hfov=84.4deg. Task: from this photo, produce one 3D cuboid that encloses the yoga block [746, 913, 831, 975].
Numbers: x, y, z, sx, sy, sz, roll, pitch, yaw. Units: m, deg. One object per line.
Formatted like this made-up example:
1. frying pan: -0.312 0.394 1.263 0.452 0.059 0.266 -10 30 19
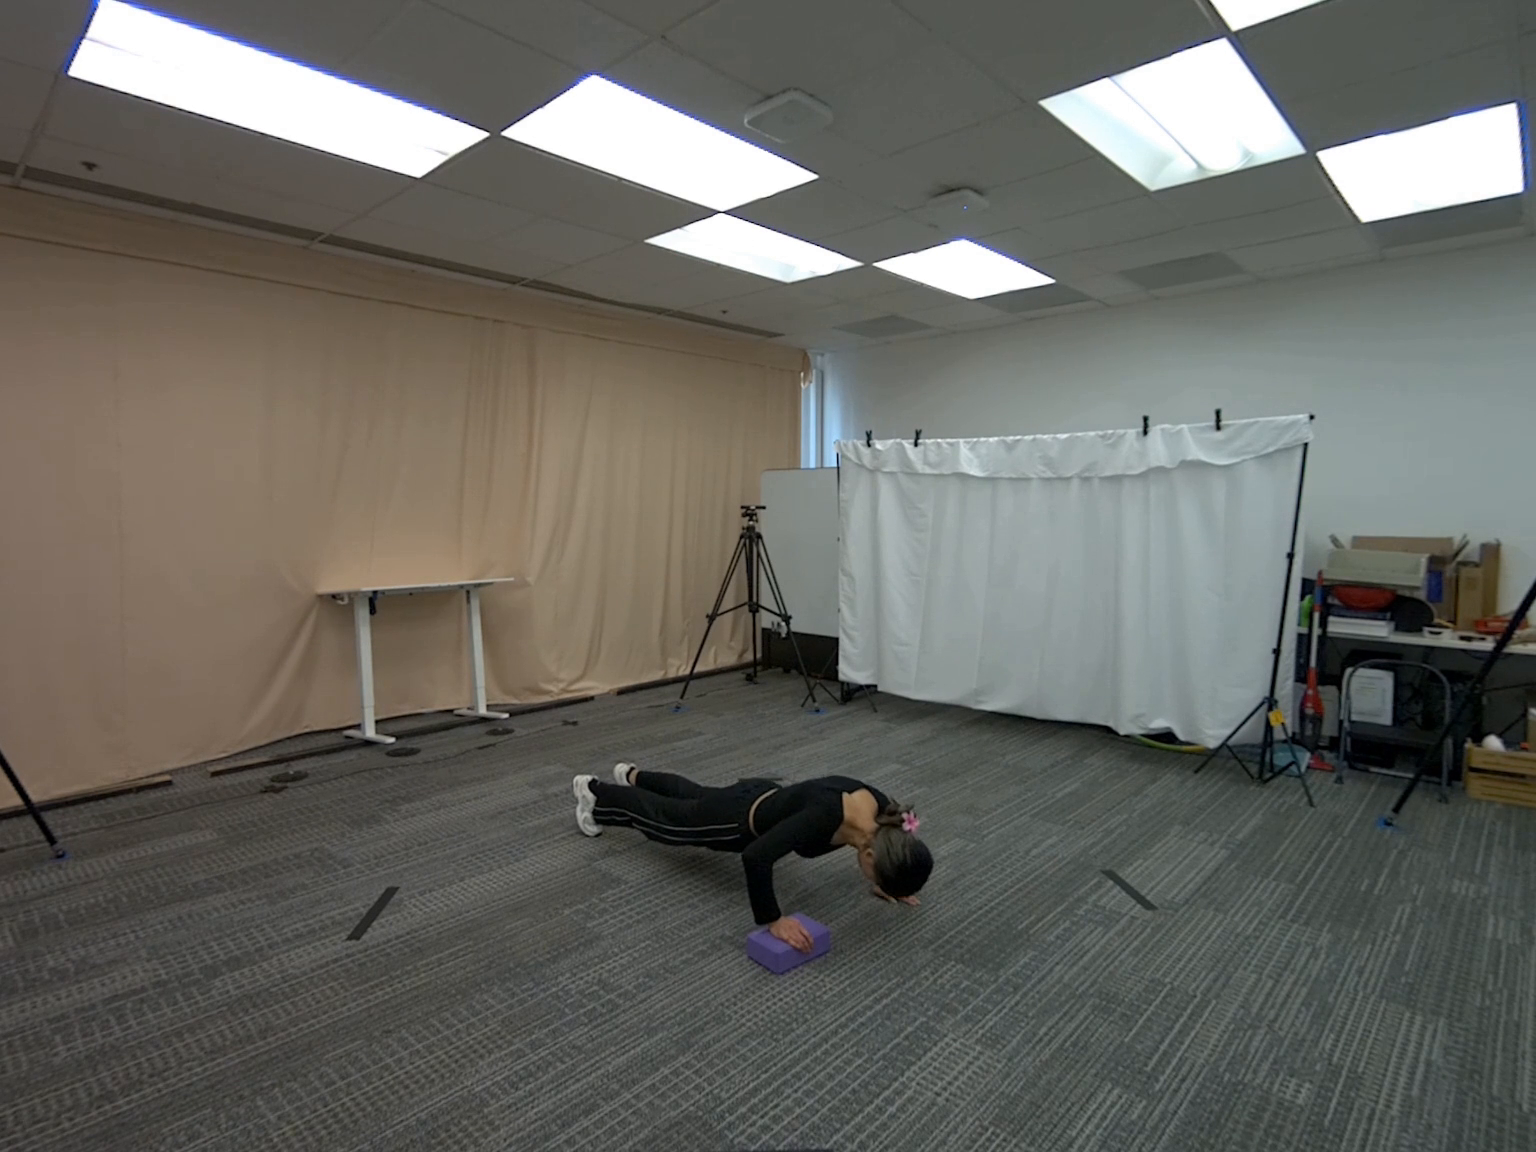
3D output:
1. yoga block: 0.064 1.133 2.619 0.222 0.076 0.154 -4 7 -41
